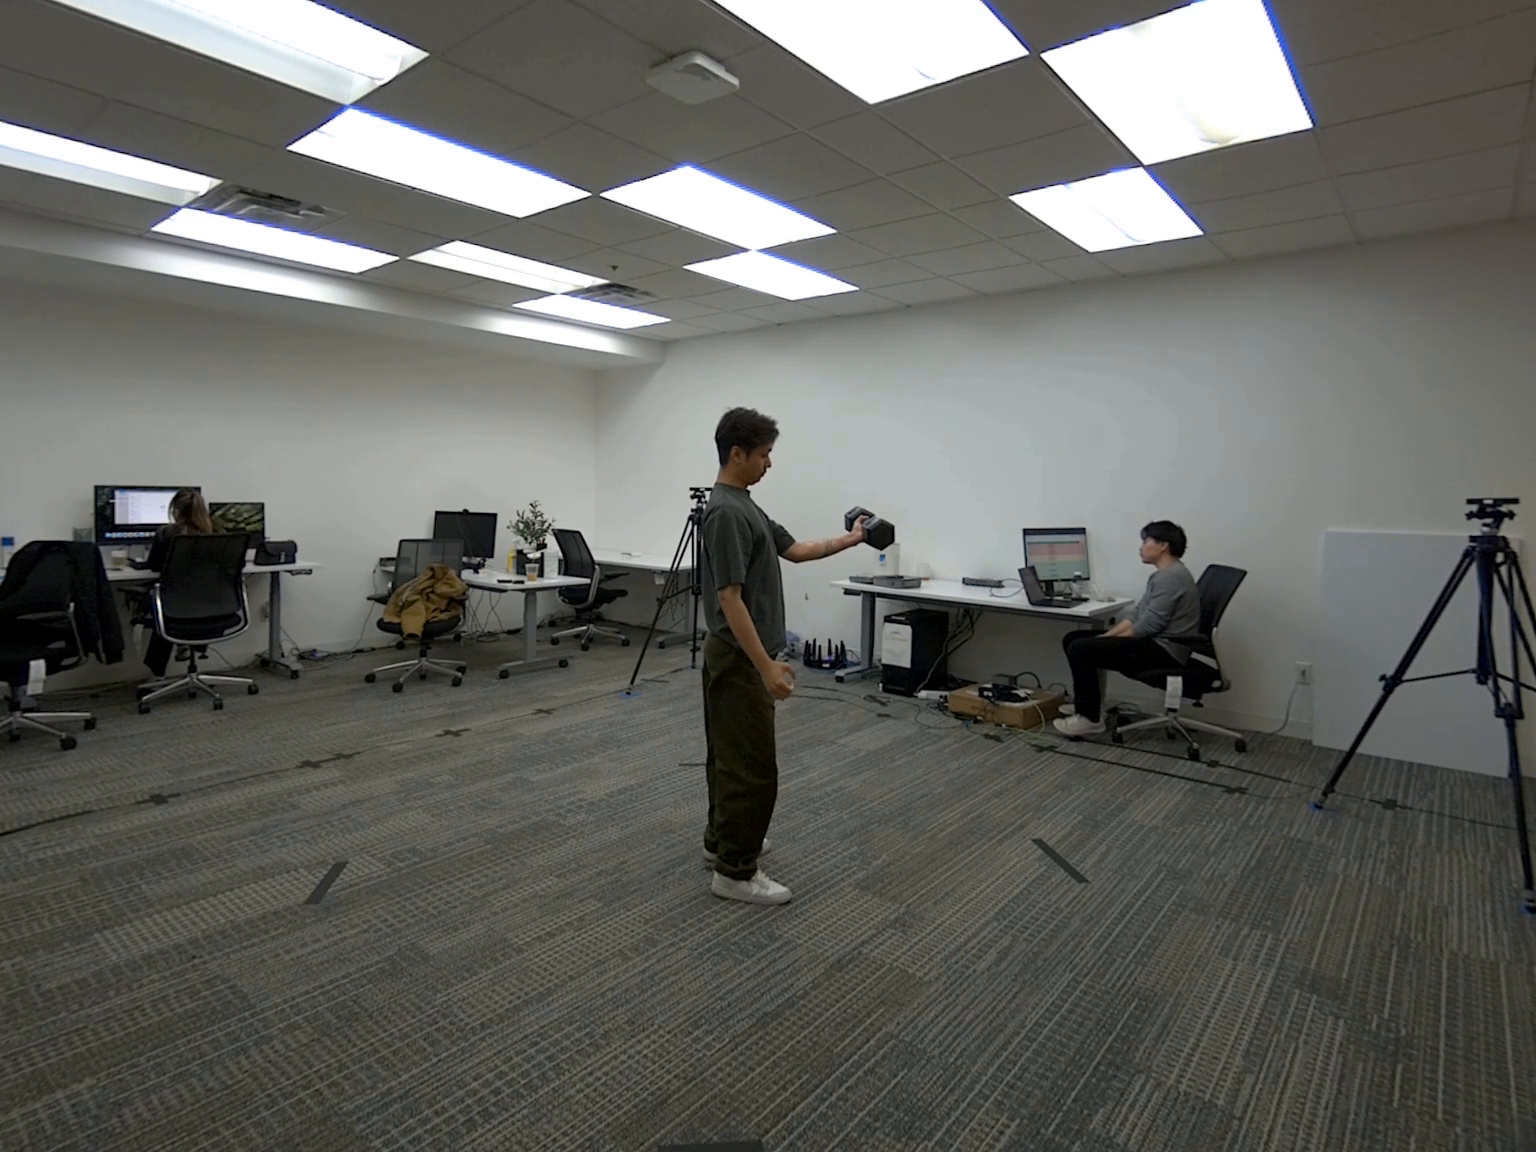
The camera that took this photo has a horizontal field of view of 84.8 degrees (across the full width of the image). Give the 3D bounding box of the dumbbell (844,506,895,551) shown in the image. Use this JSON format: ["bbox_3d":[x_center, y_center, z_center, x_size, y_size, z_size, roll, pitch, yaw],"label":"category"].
[{"bbox_3d":[0.378,-0.189,3.247,0.107,0.121,0.301,-6,15,-13],"label":"dumbbell"}]
